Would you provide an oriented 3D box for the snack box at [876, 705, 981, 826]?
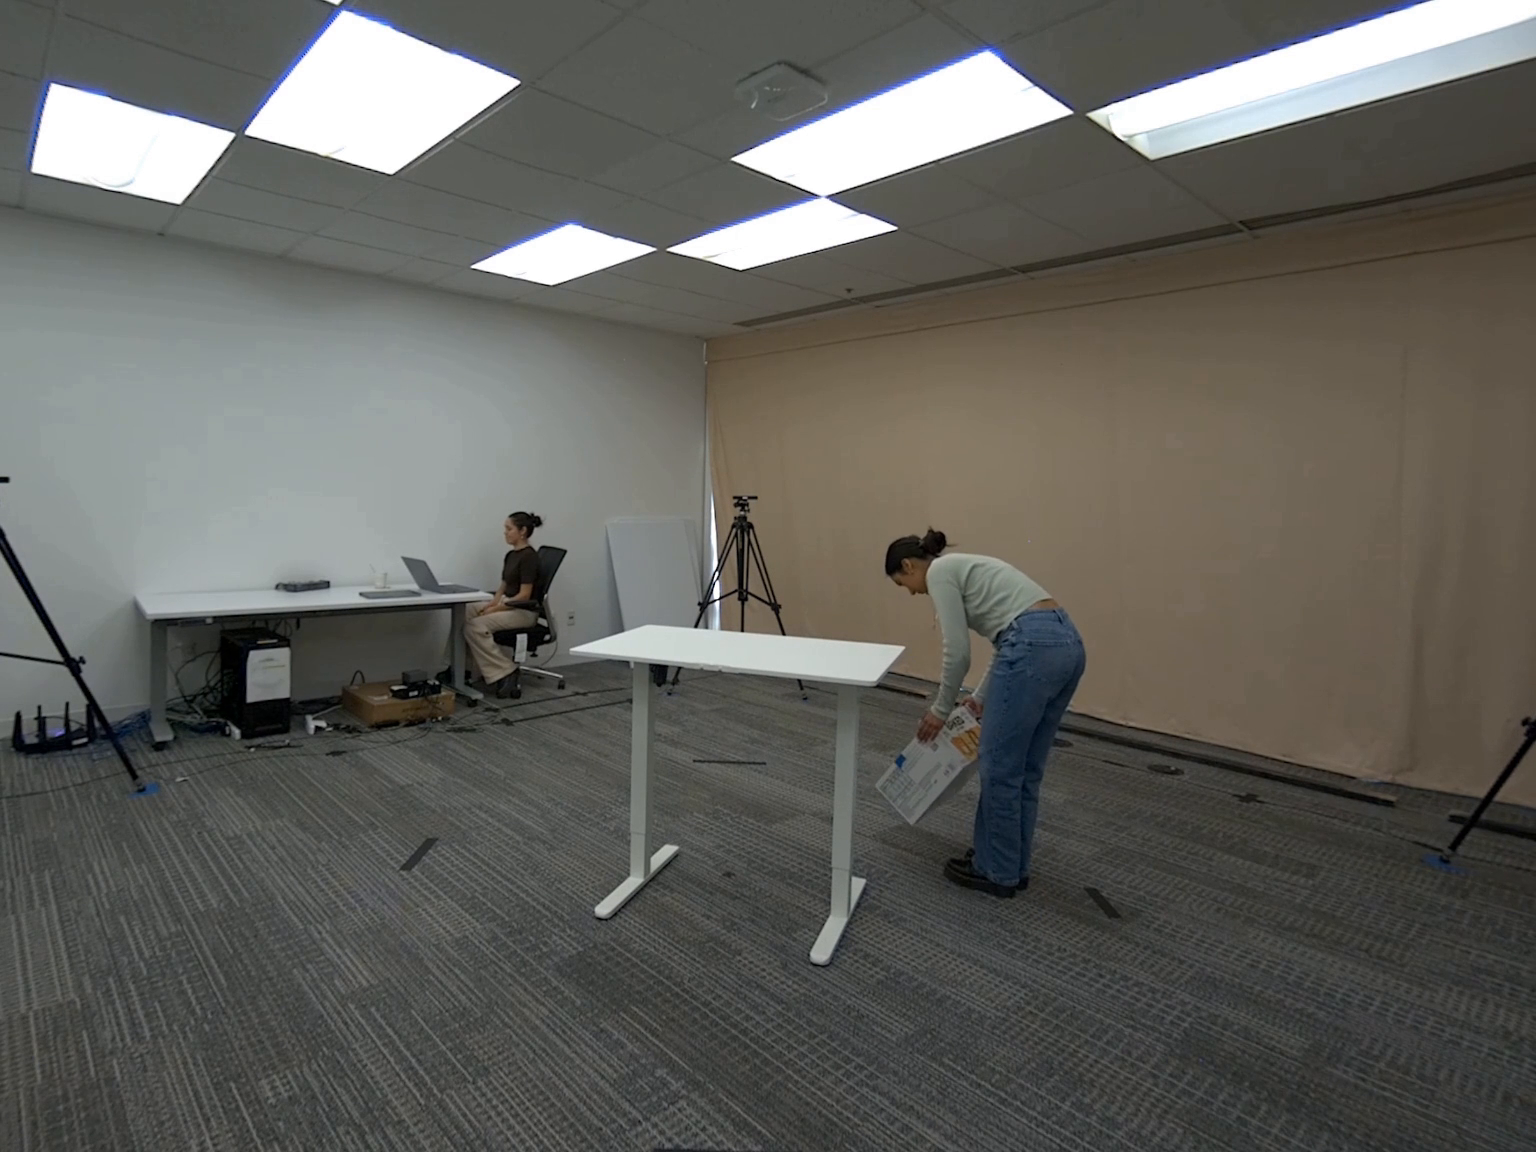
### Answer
[{"bbox_3d":[0.667,0.729,3.289,0.211,0.338,0.397,44,27,25],"label":"snack box"}]
